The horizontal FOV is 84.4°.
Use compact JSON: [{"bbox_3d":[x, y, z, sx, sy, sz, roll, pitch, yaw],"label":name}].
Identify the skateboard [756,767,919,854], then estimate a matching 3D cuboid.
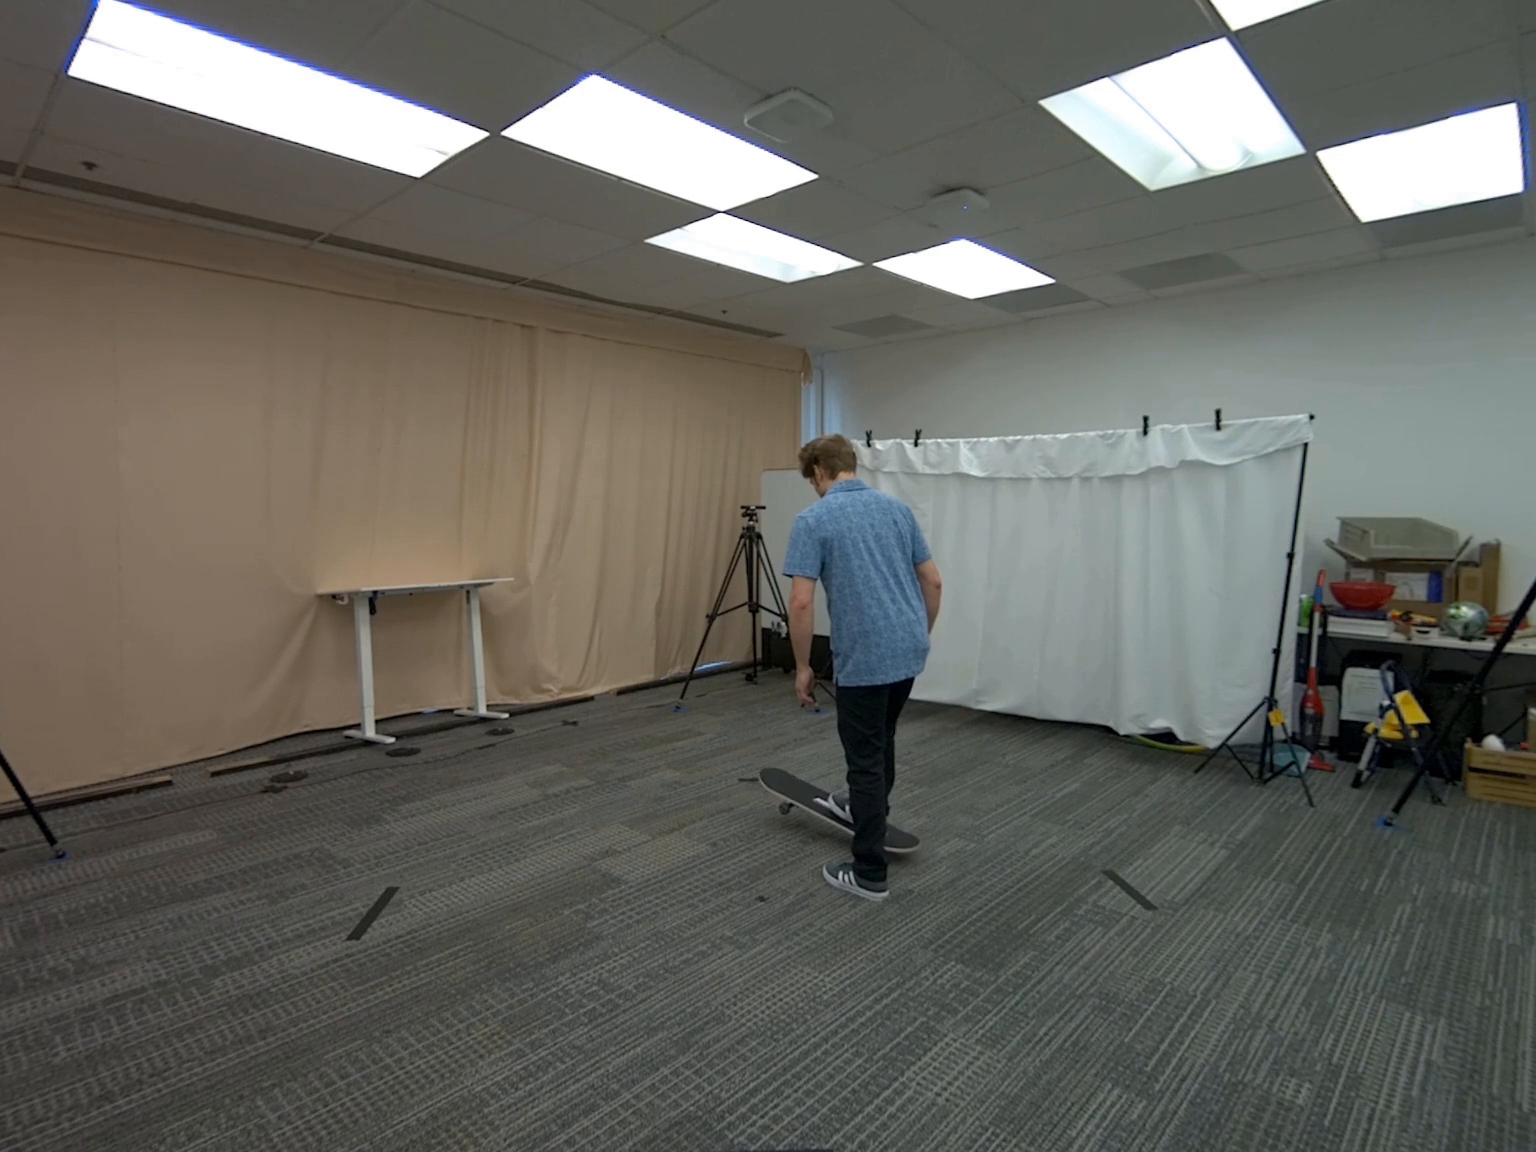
[{"bbox_3d":[0.283,1.010,3.530,0.814,0.110,0.188,17,16,40],"label":"skateboard"}]
